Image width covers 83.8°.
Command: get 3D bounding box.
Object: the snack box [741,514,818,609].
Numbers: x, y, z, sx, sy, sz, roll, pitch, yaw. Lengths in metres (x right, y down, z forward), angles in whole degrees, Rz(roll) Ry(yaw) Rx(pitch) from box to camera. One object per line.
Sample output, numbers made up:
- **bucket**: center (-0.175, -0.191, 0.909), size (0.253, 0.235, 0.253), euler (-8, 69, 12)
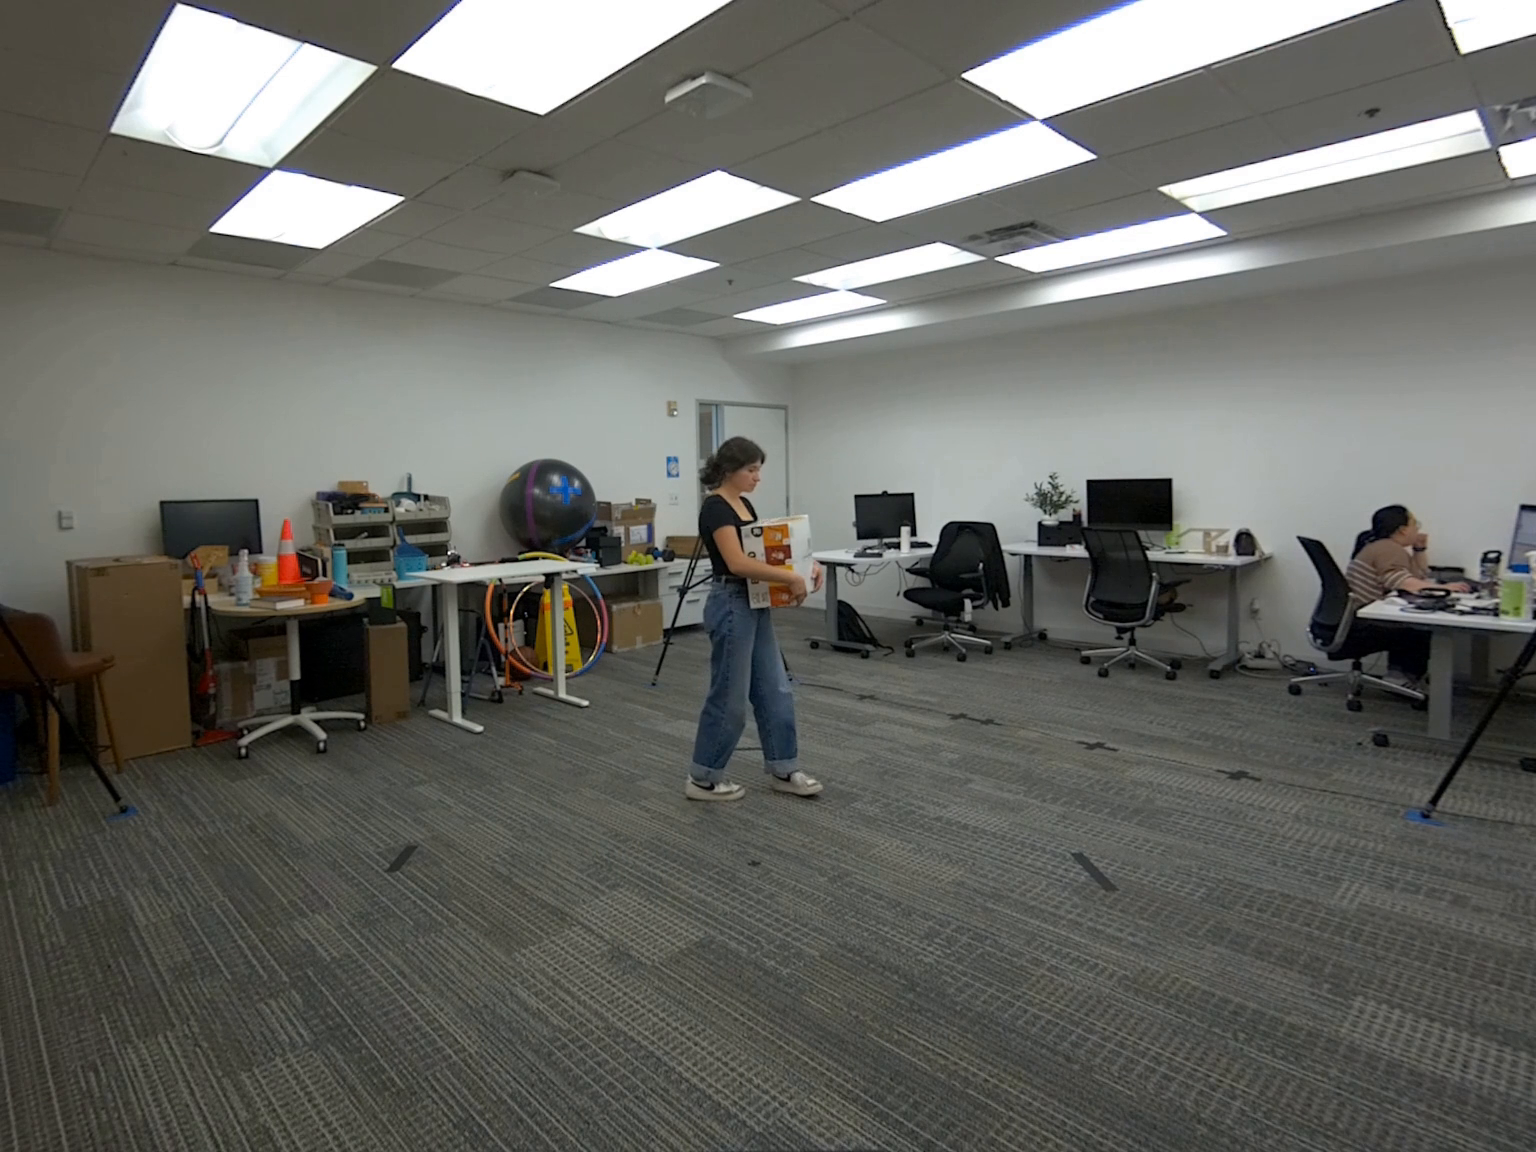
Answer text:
- **snack box**: center (0.055, -0.074, 3.685), size (0.209, 0.338, 0.401), euler (-4, 6, 16)
